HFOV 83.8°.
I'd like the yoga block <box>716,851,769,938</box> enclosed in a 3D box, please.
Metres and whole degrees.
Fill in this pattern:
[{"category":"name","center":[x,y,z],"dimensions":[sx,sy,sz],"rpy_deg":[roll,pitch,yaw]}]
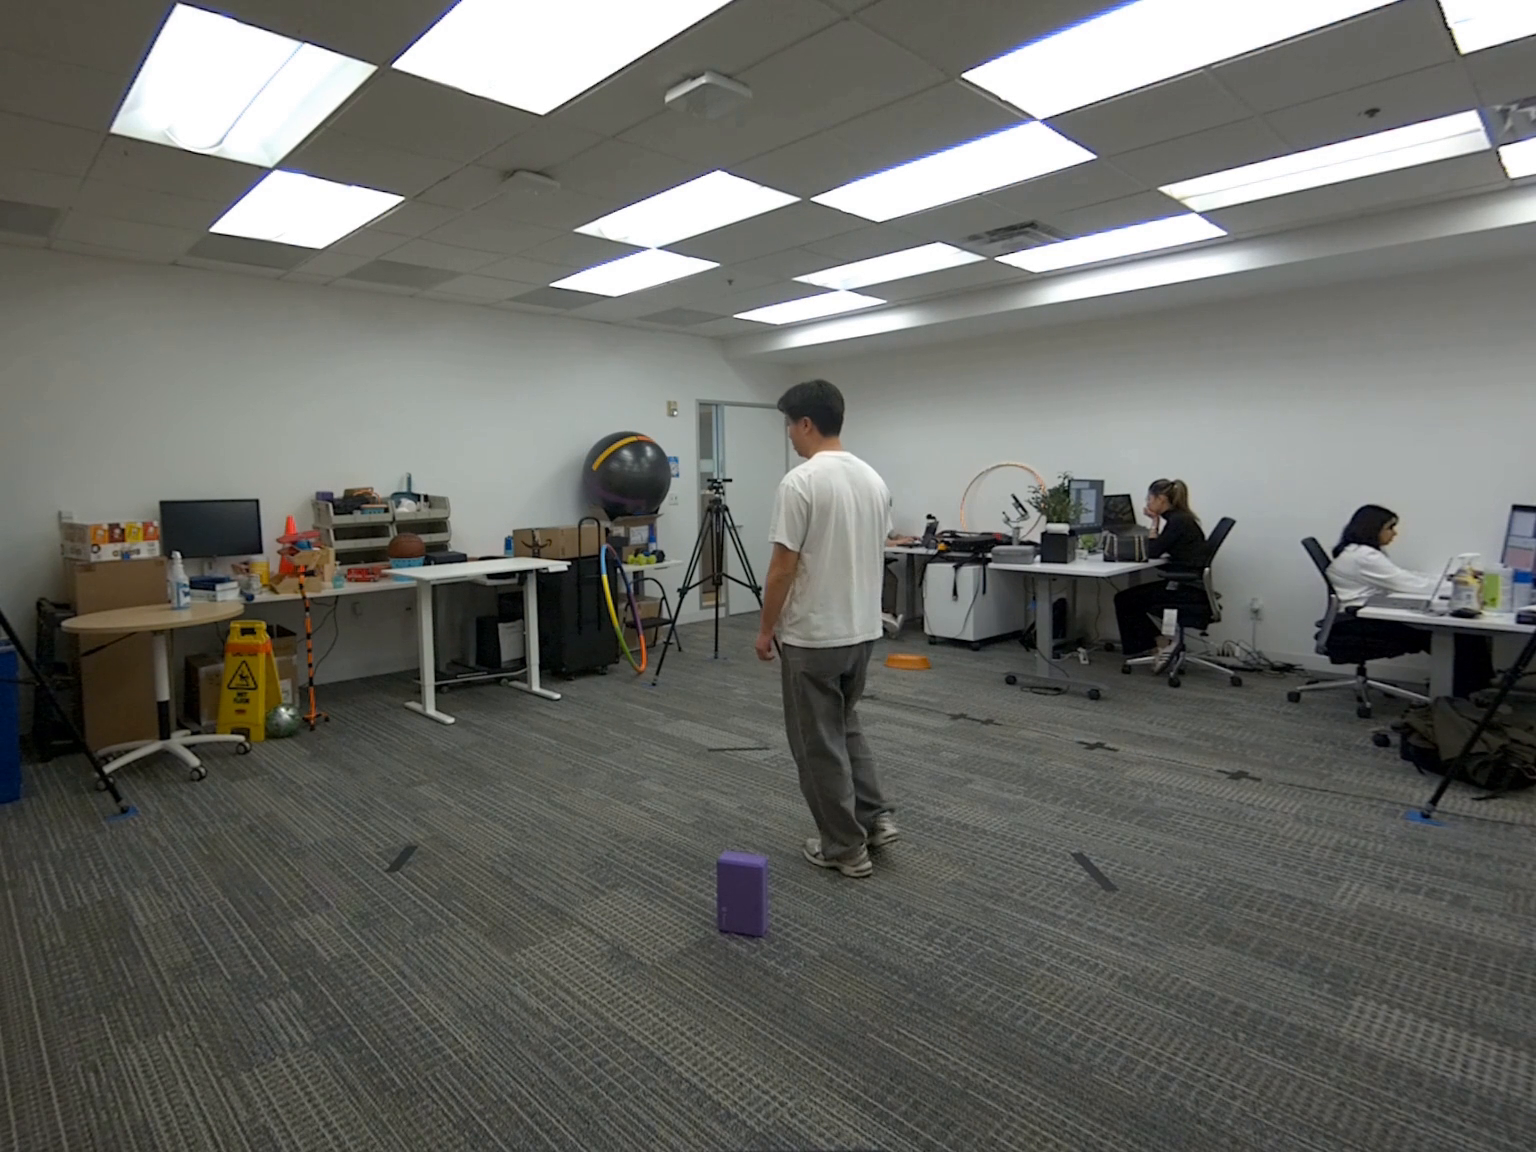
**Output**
[{"category":"yoga block","center":[-0.074,0.985,2.650],"dimensions":[0.151,0.228,0.075],"rpy_deg":[0,4,16]}]
